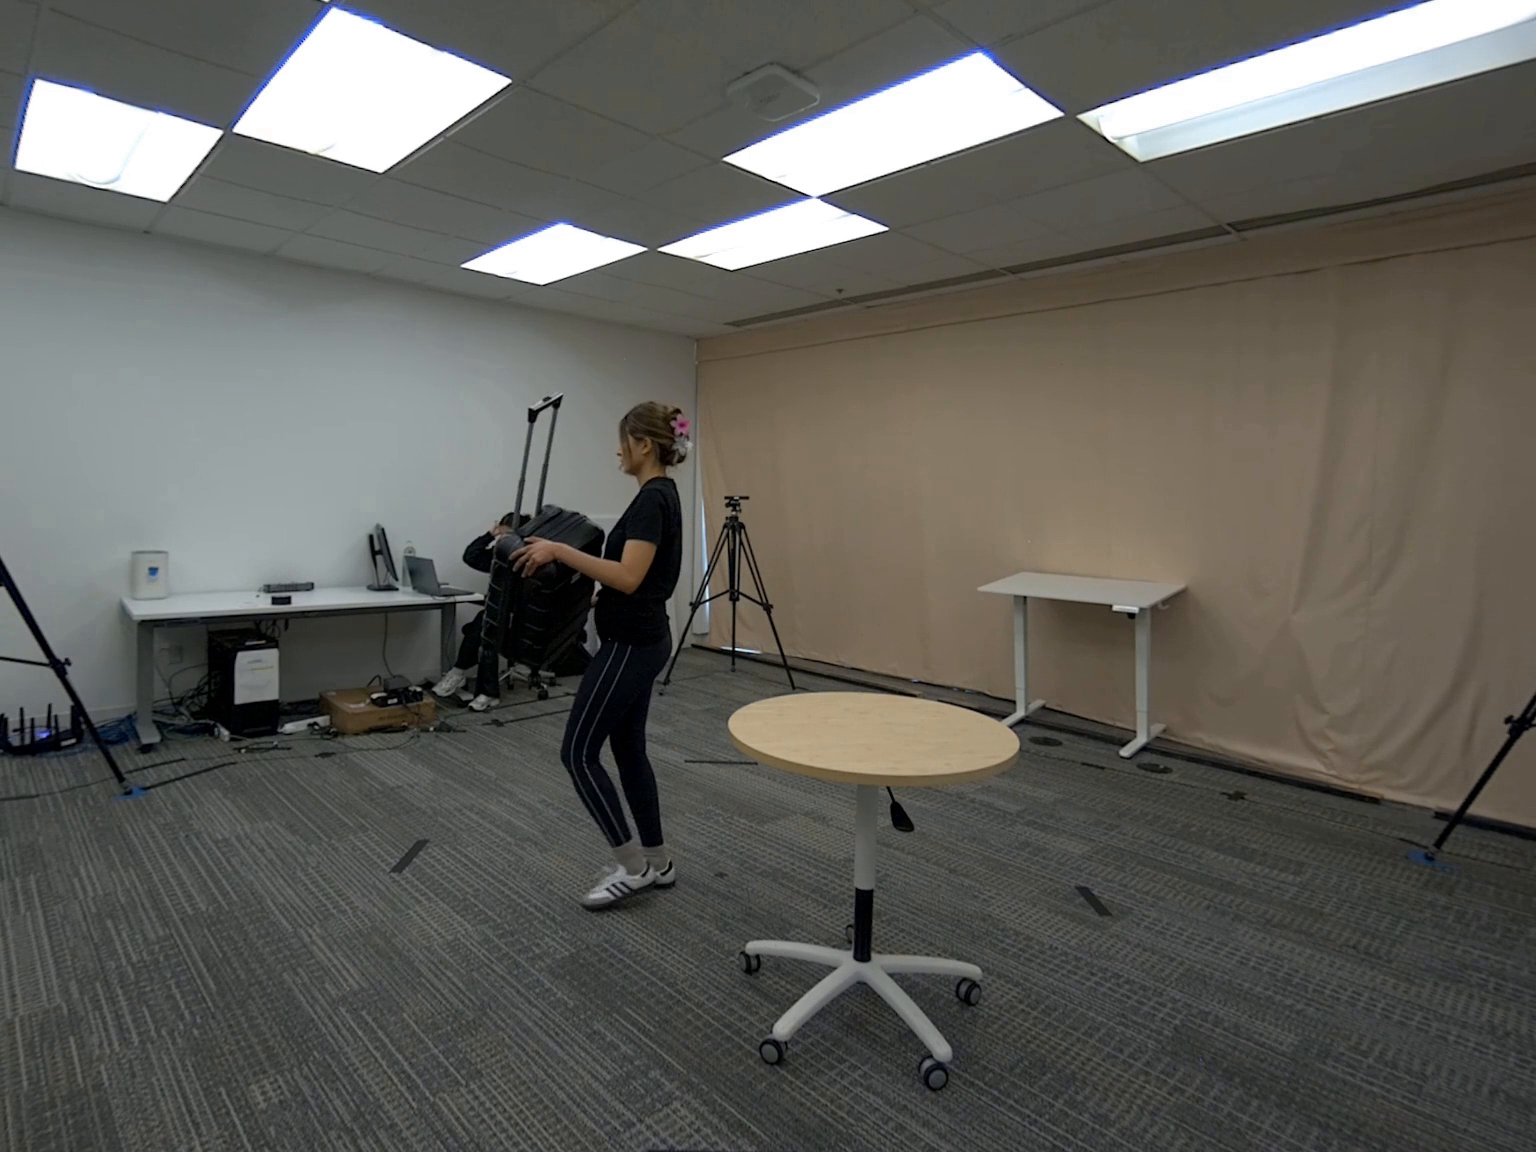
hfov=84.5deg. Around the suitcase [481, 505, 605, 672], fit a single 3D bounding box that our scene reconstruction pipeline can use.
[{"bbox_3d":[-0.729,-0.116,2.814,0.260,0.967,0.383,28,33,11],"label":"suitcase"}]
